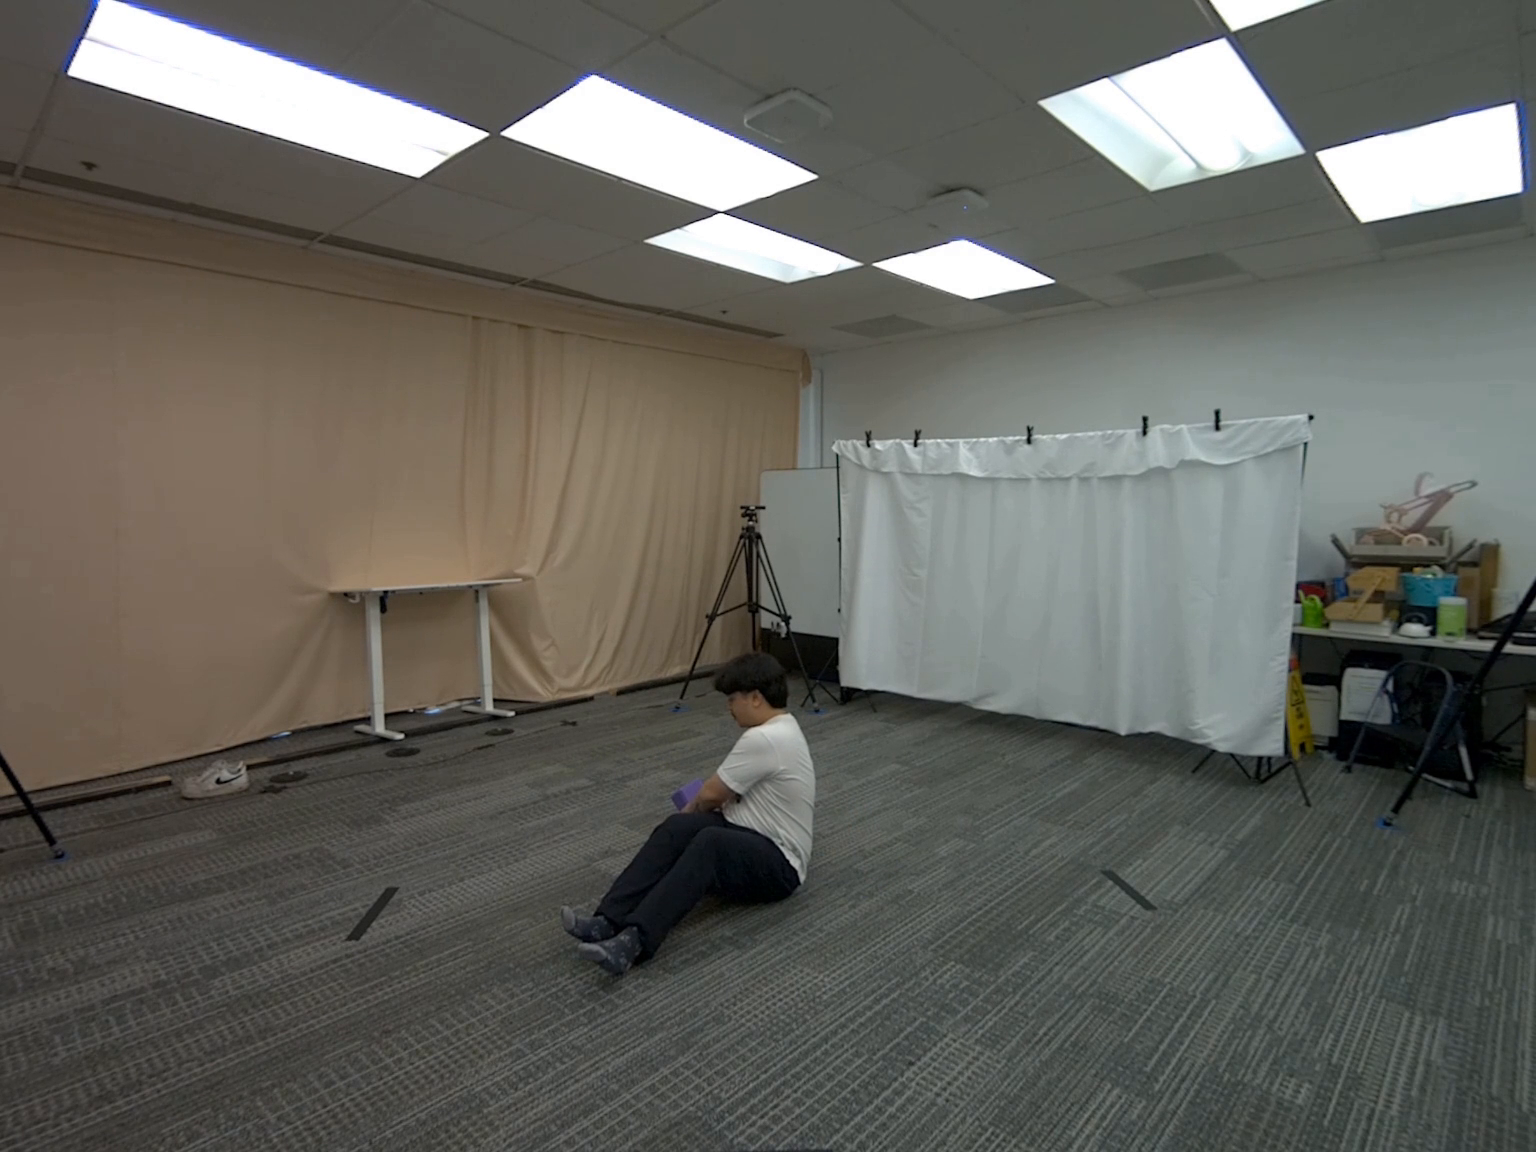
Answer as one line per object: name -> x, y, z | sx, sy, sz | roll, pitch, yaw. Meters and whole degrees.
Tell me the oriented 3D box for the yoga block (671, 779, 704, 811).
yoga block -> -0.281, 0.955, 3.422 | 0.077, 0.233, 0.145 | -43, -15, 31
